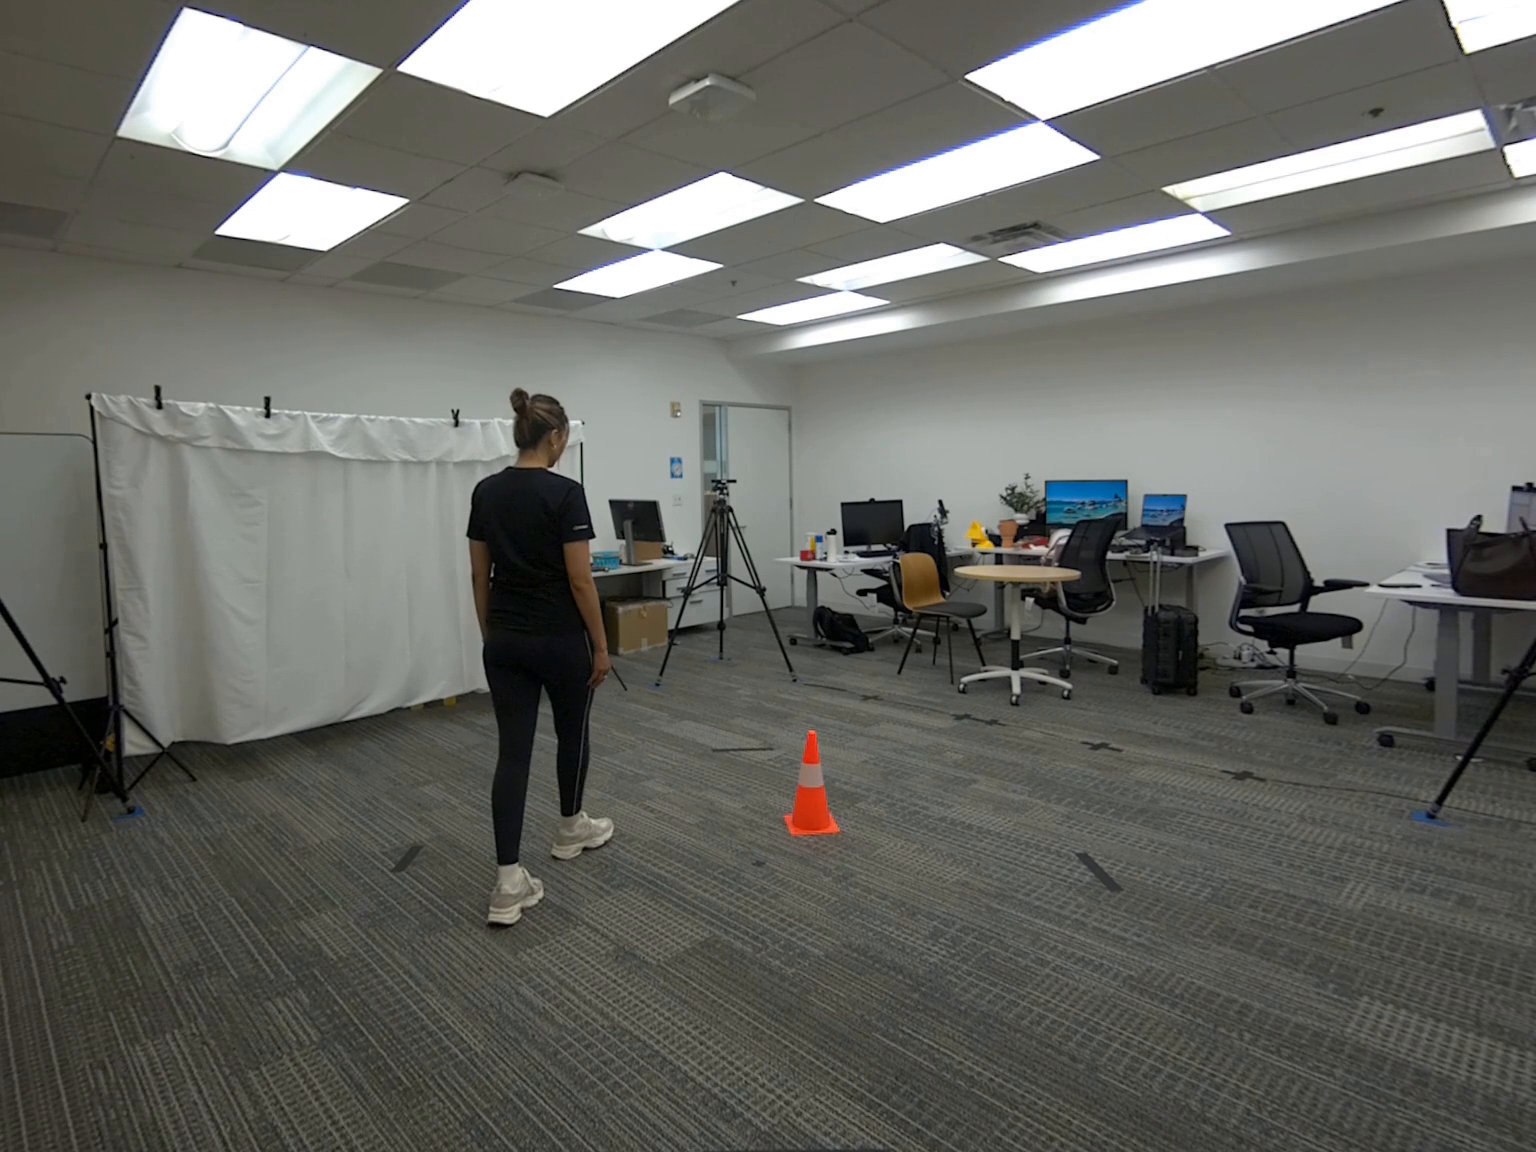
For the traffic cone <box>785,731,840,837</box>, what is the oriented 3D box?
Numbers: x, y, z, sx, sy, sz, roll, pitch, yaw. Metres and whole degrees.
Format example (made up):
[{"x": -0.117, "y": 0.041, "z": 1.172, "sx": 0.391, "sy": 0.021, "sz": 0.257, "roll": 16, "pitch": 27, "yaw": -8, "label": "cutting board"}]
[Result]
[{"x": 0.172, "y": 0.818, "z": 3.452, "sx": 0.204, "sy": 0.382, "sz": 0.205, "roll": -3, "pitch": 3, "yaw": -7, "label": "traffic cone"}]
